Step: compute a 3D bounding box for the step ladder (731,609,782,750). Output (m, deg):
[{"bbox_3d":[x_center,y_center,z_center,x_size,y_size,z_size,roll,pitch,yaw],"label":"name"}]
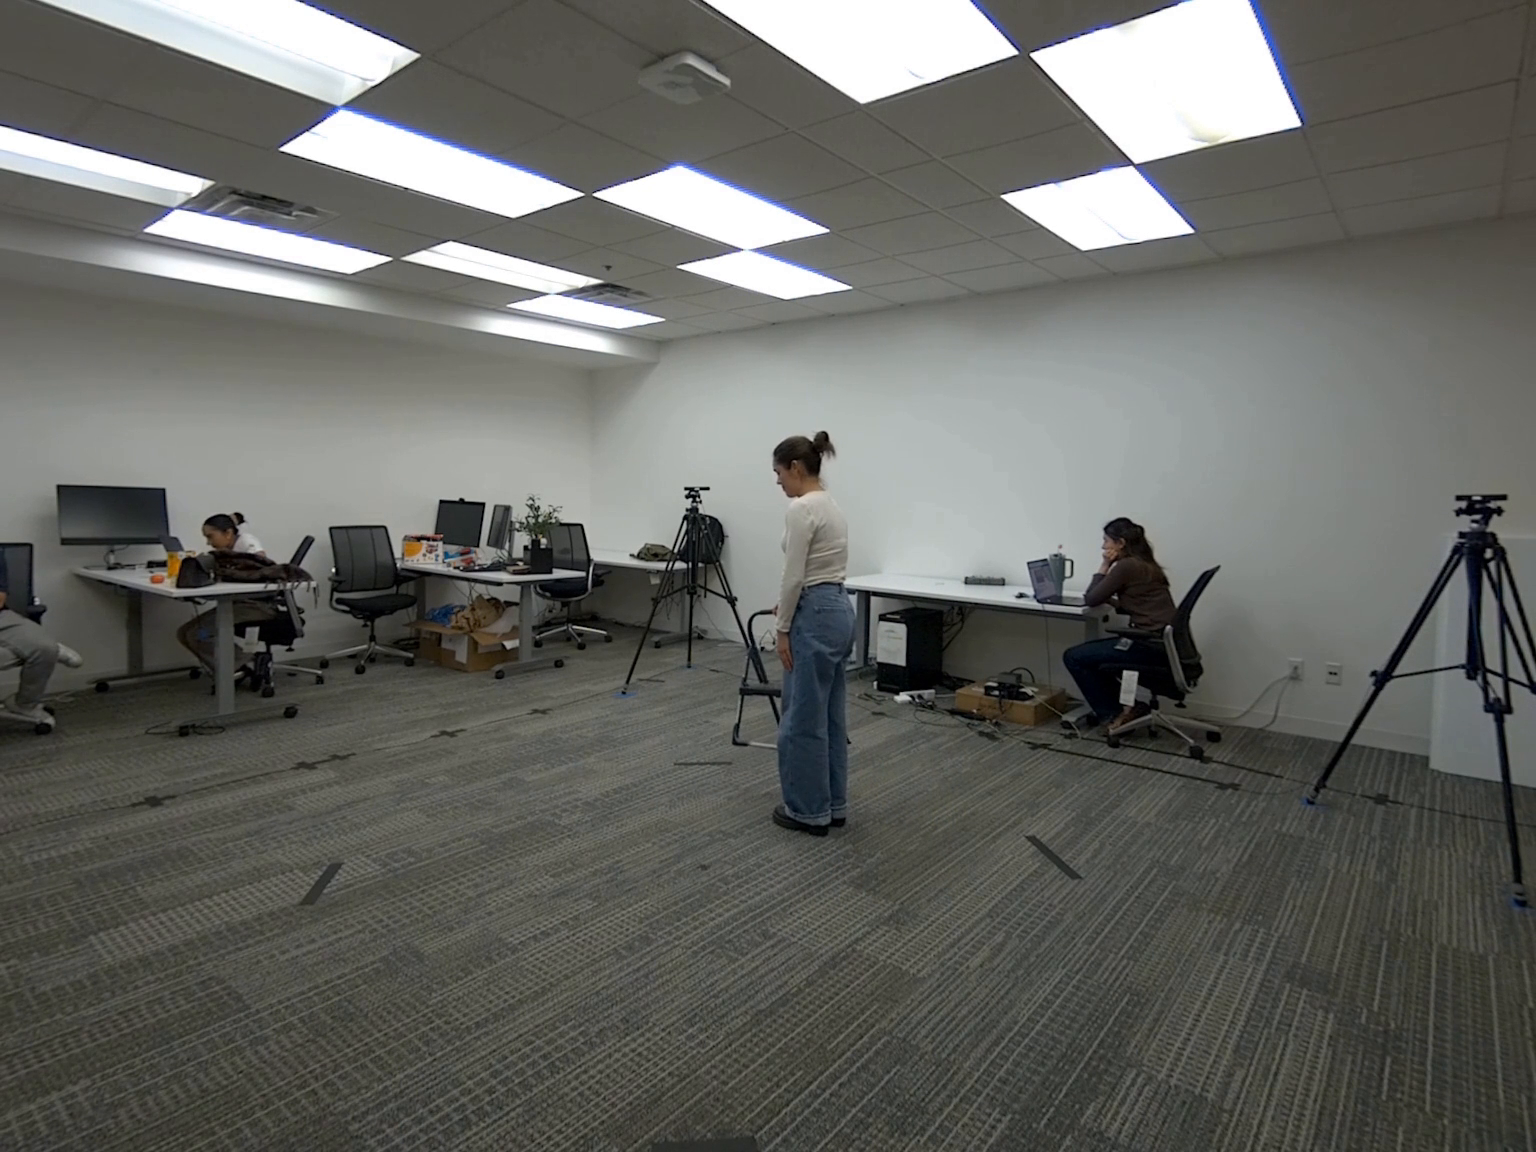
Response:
[{"bbox_3d":[0.064,0.457,3.853,0.338,0.610,0.442,3,-7,-43],"label":"step ladder"}]
